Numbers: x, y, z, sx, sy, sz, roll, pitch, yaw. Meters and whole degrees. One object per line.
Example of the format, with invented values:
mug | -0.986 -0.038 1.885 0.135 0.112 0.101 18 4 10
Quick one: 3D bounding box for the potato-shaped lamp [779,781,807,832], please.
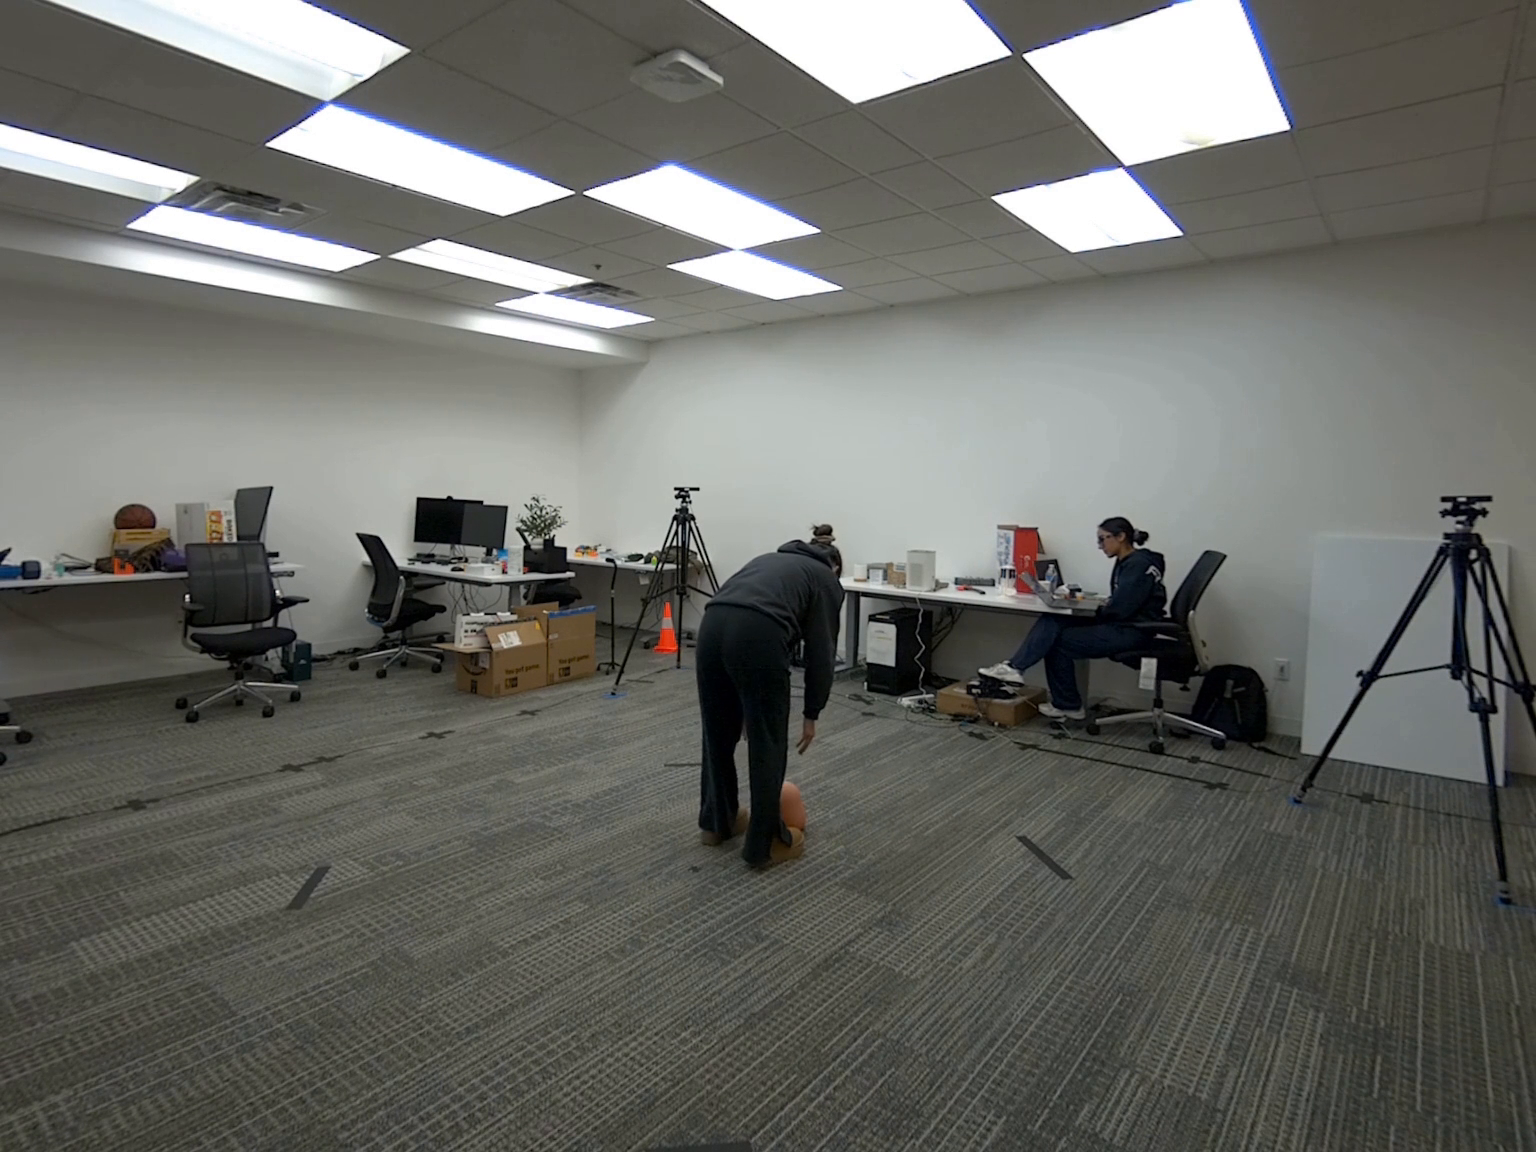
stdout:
potato-shaped lamp | 0.064 0.932 3.476 0.170 0.197 0.166 5 5 44
